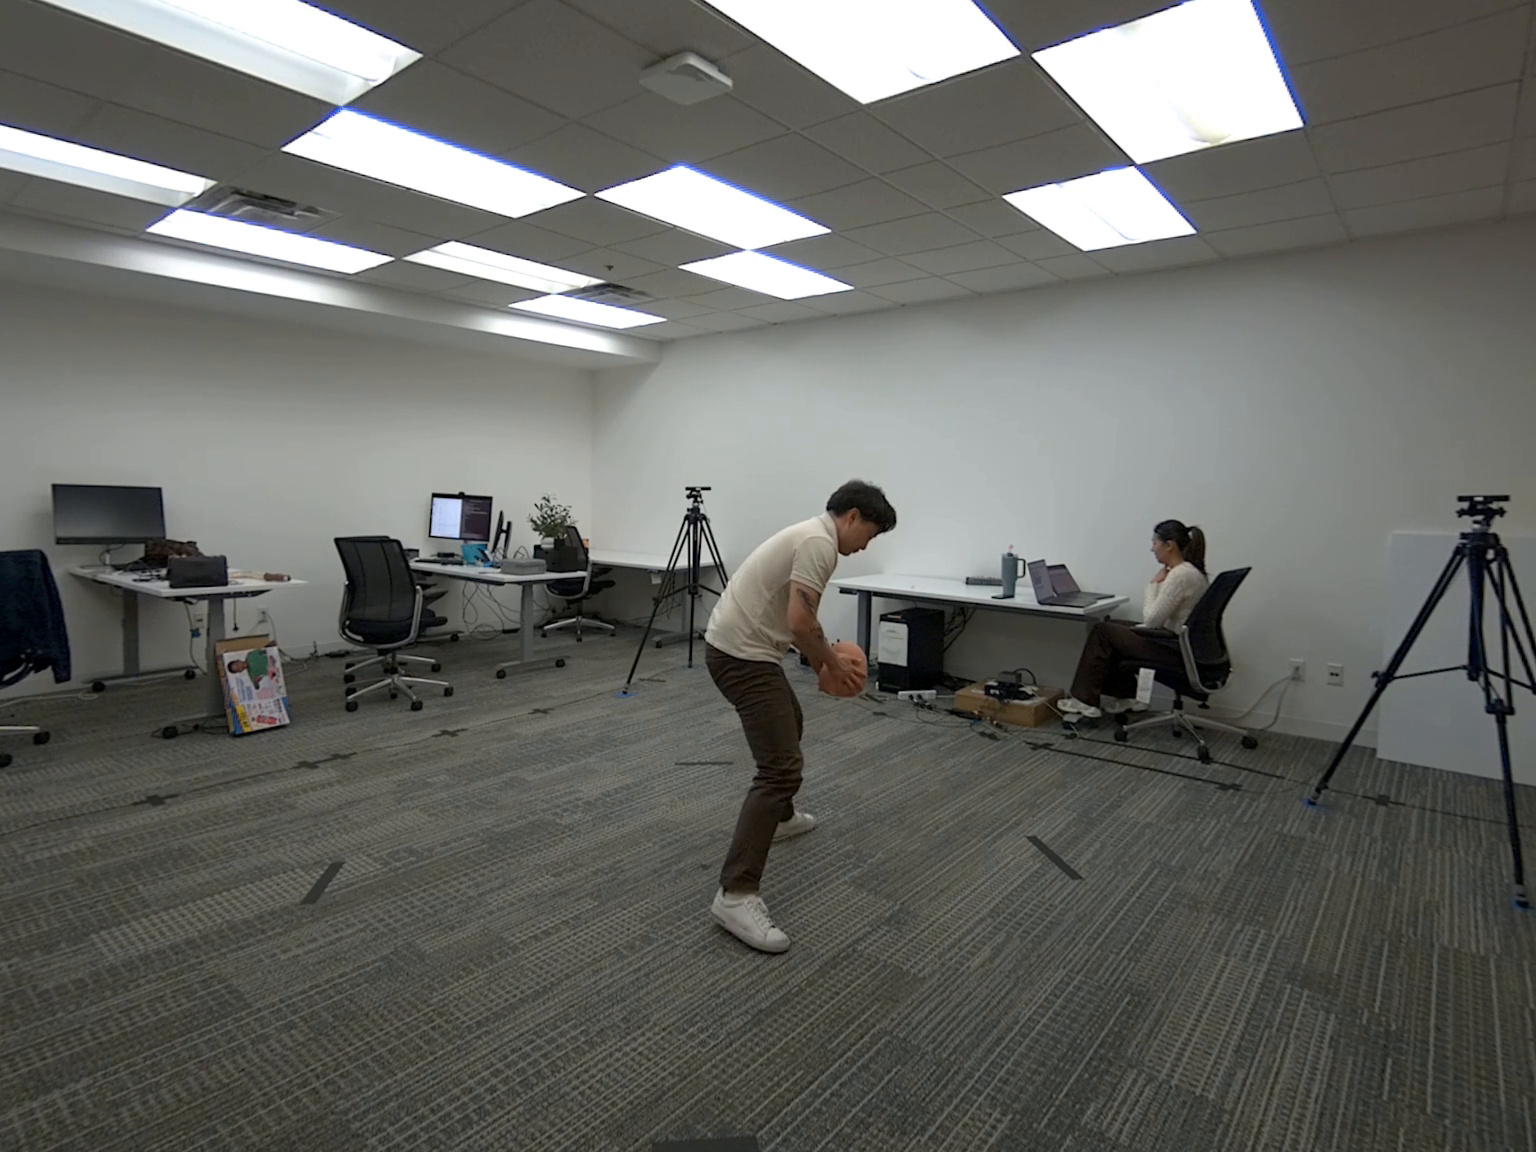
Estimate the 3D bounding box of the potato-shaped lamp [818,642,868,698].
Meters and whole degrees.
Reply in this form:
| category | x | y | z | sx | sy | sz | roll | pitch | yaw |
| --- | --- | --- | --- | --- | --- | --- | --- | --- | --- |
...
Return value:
| category | x | y | z | sx | sy | sz | roll | pitch | yaw |
| --- | --- | --- | --- | --- | --- | --- | --- | --- | --- |
| potato-shaped lamp | 0.268 | 0.347 | 3.086 | 0.169 | 0.199 | 0.166 | 11 | -9 | -13 |
